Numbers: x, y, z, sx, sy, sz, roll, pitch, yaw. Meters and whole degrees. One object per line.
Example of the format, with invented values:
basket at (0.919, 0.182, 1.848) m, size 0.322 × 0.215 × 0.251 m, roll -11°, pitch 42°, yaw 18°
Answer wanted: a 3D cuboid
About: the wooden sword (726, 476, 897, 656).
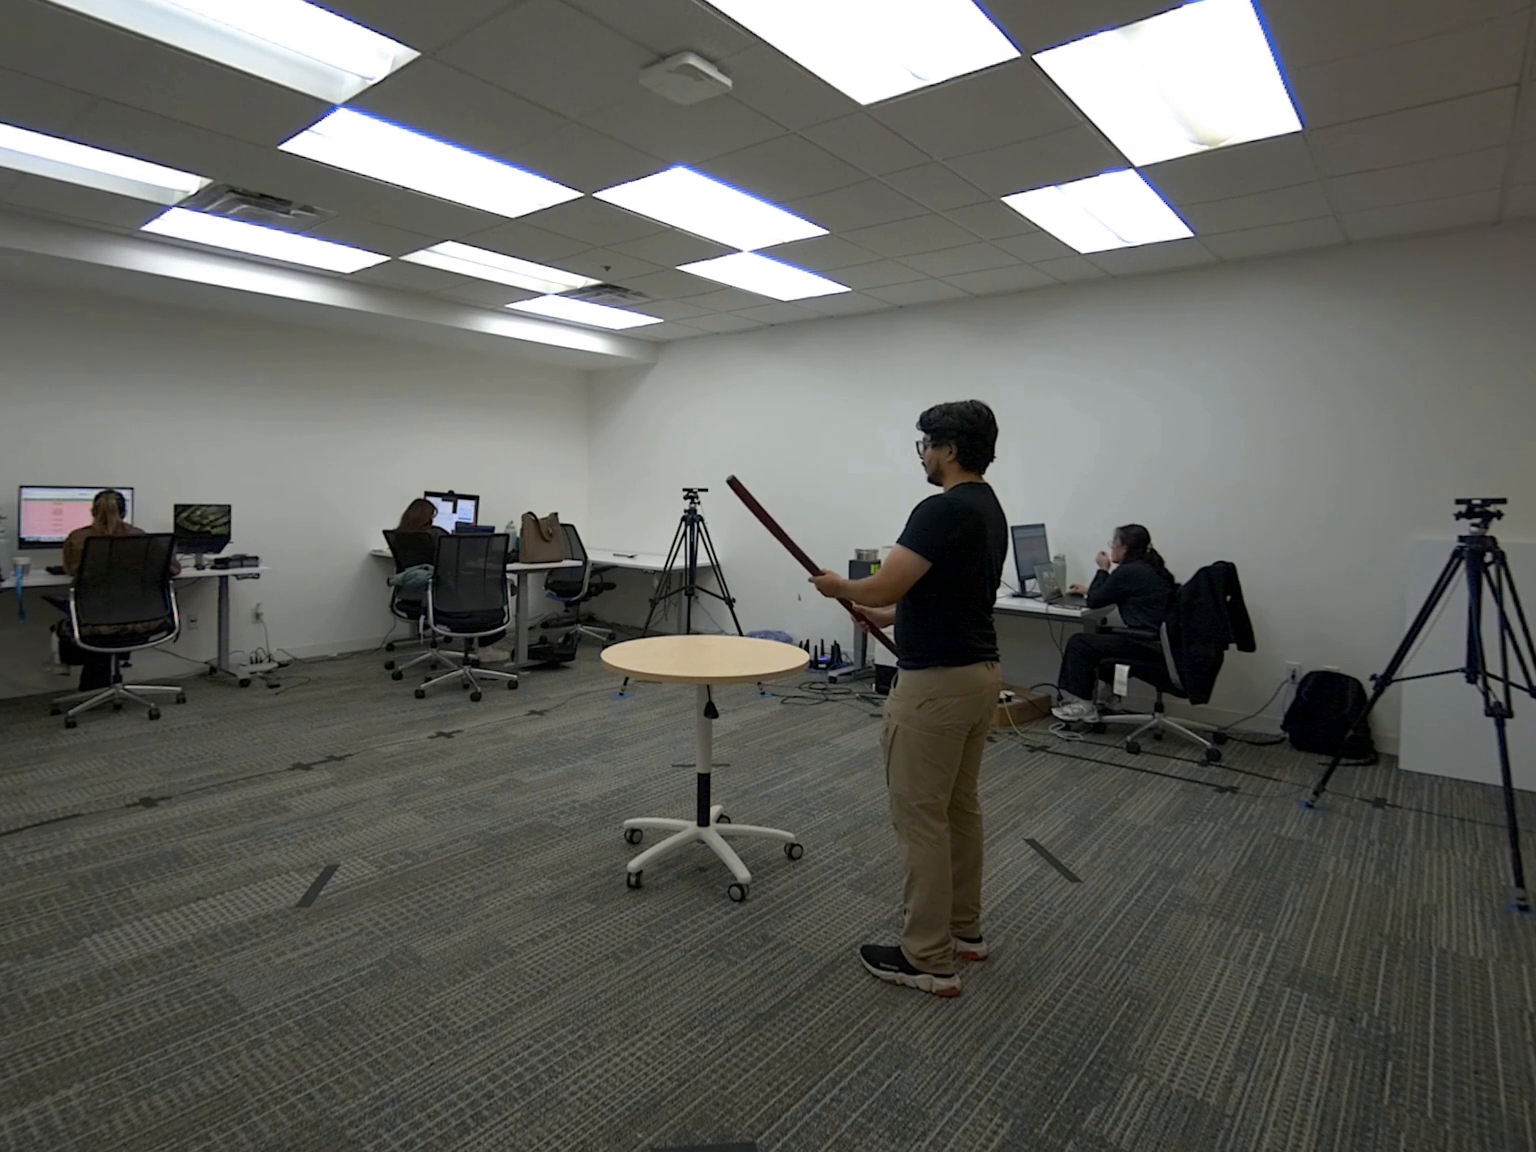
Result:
wooden sword at (0.206, 0.043, 2.724) m, size 0.052 × 0.995 × 0.024 m, roll -24°, pitch 29°, yaw 42°
